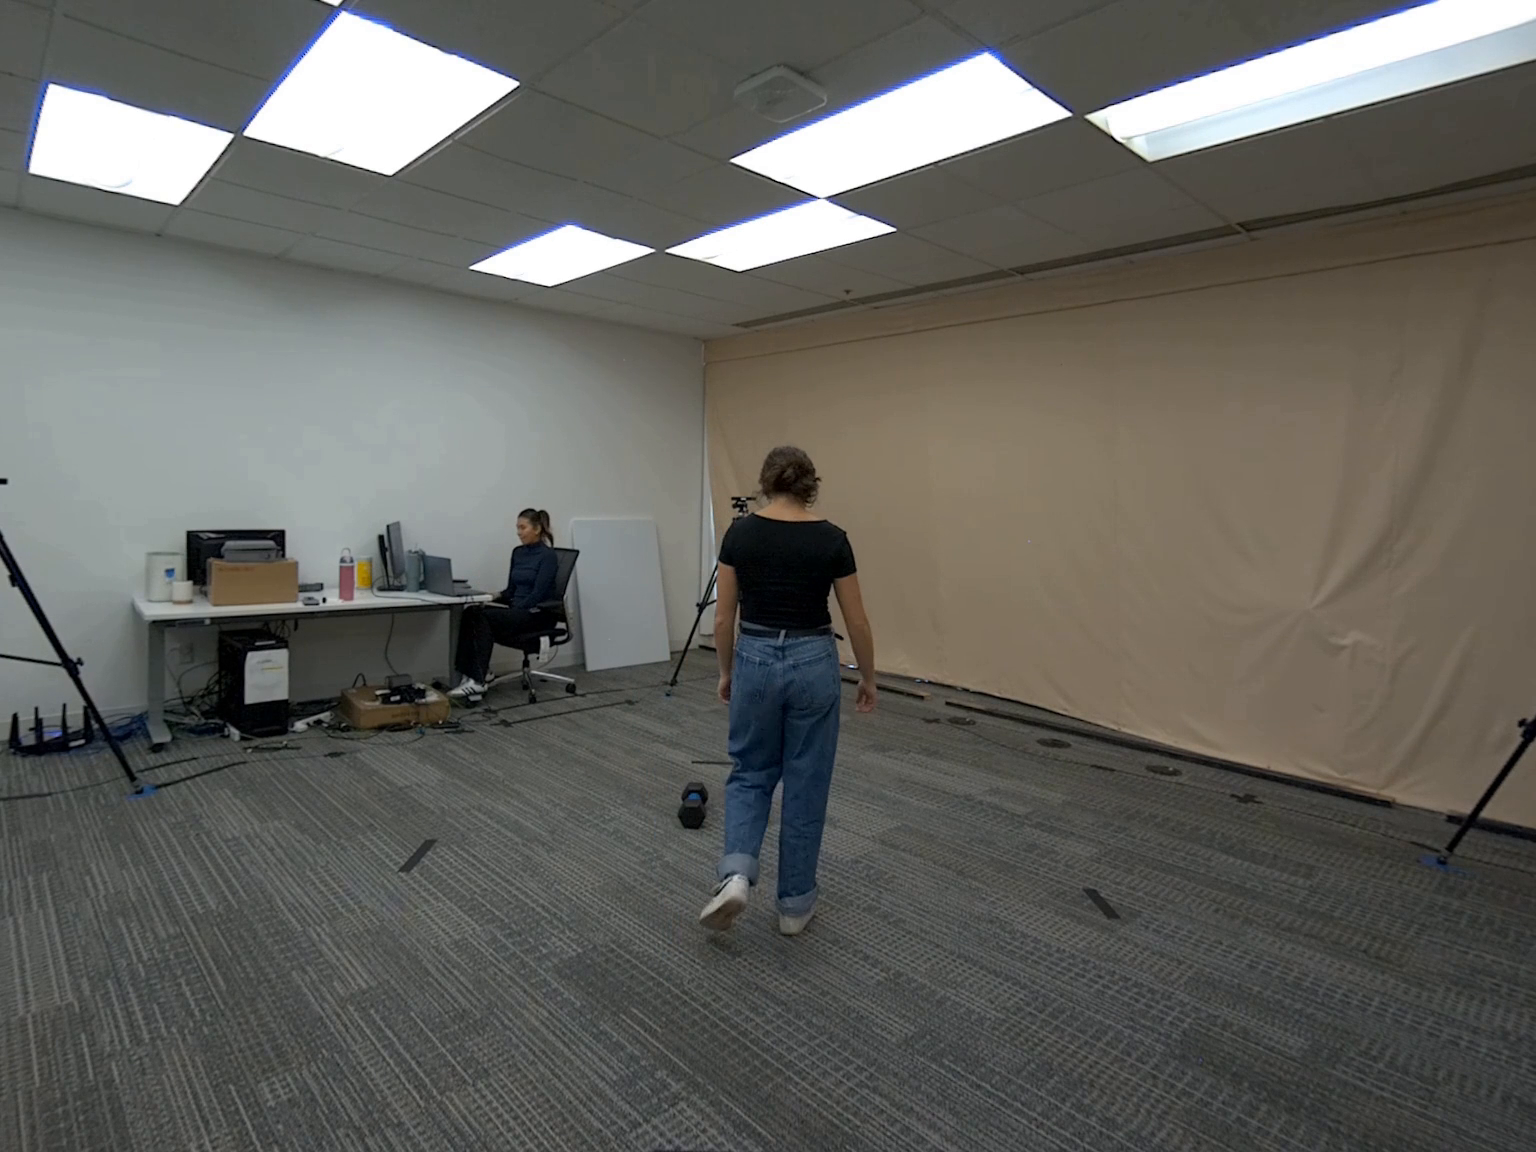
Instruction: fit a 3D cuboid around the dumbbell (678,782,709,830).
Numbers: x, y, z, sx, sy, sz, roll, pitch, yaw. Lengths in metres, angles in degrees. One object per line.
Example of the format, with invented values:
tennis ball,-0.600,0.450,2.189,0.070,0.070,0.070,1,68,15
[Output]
dumbbell,-0.334,0.999,3.678,0.108,0.123,0.294,32,4,-4
